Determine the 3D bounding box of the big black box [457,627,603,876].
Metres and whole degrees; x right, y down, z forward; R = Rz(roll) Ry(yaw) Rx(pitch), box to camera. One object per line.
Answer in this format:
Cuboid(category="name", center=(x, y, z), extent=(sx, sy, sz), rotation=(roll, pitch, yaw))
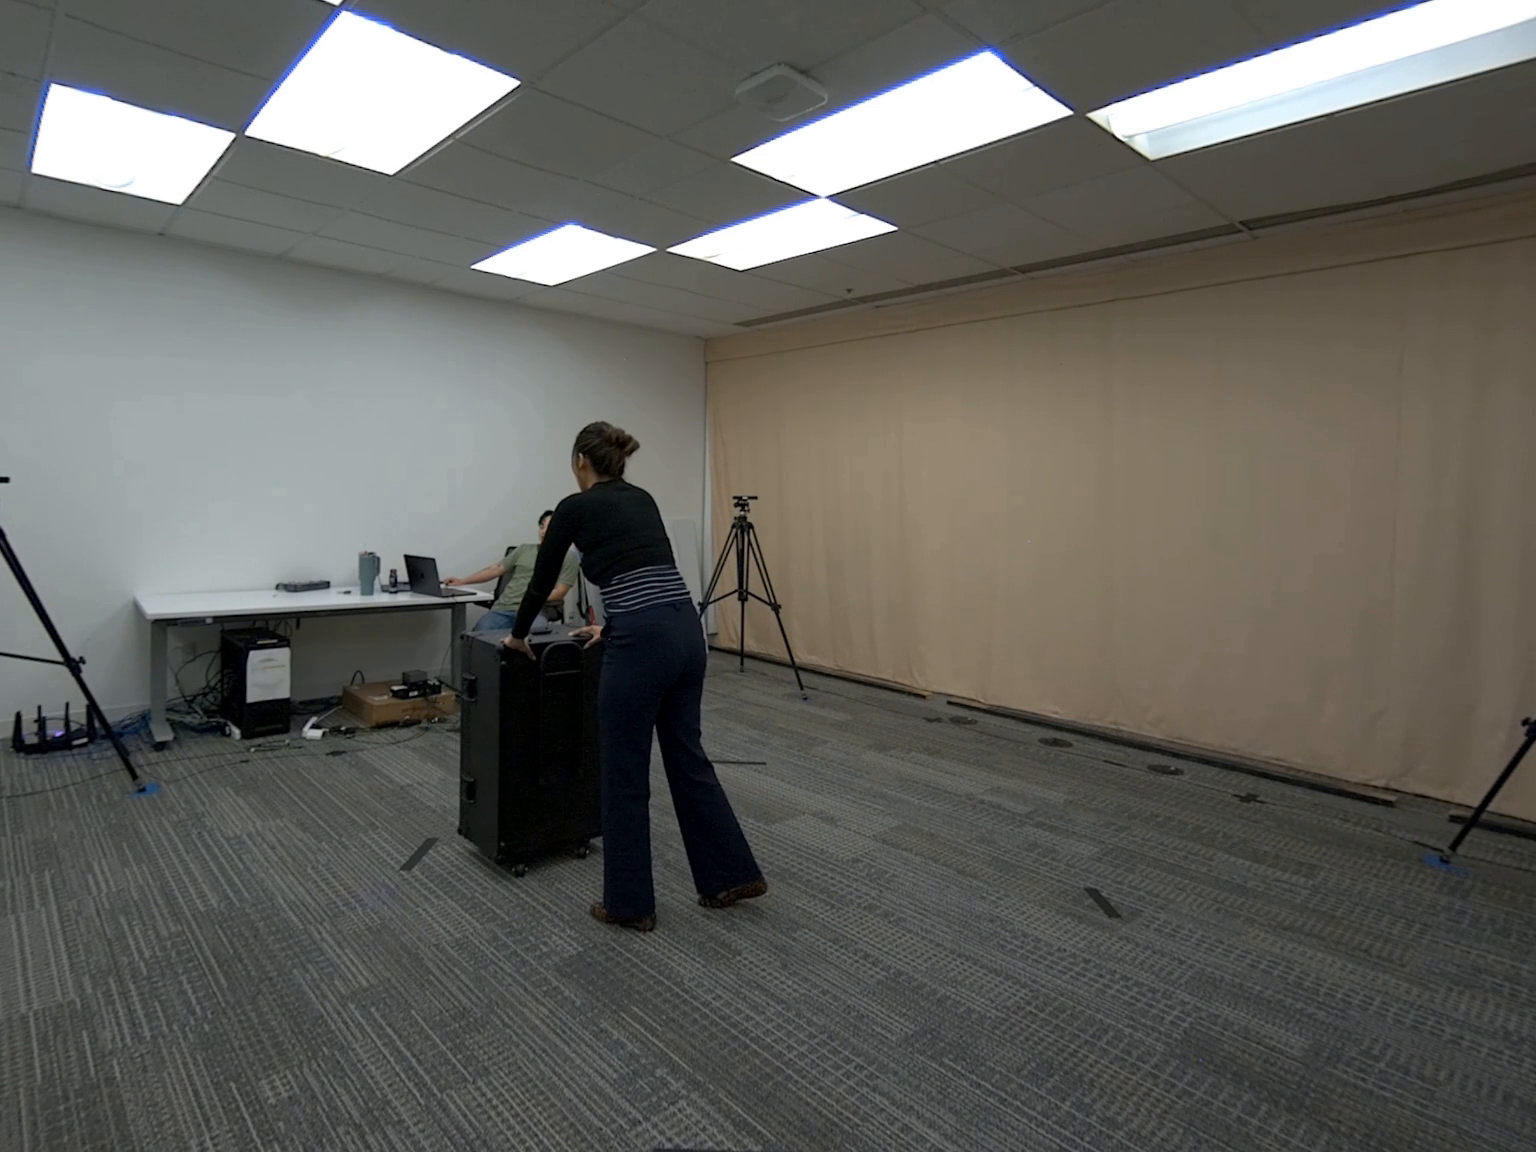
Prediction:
Cuboid(category="big black box", center=(-0.883, 0.644, 3.245), extent=(0.509, 0.859, 0.406), rotation=(-1, 5, -40))
